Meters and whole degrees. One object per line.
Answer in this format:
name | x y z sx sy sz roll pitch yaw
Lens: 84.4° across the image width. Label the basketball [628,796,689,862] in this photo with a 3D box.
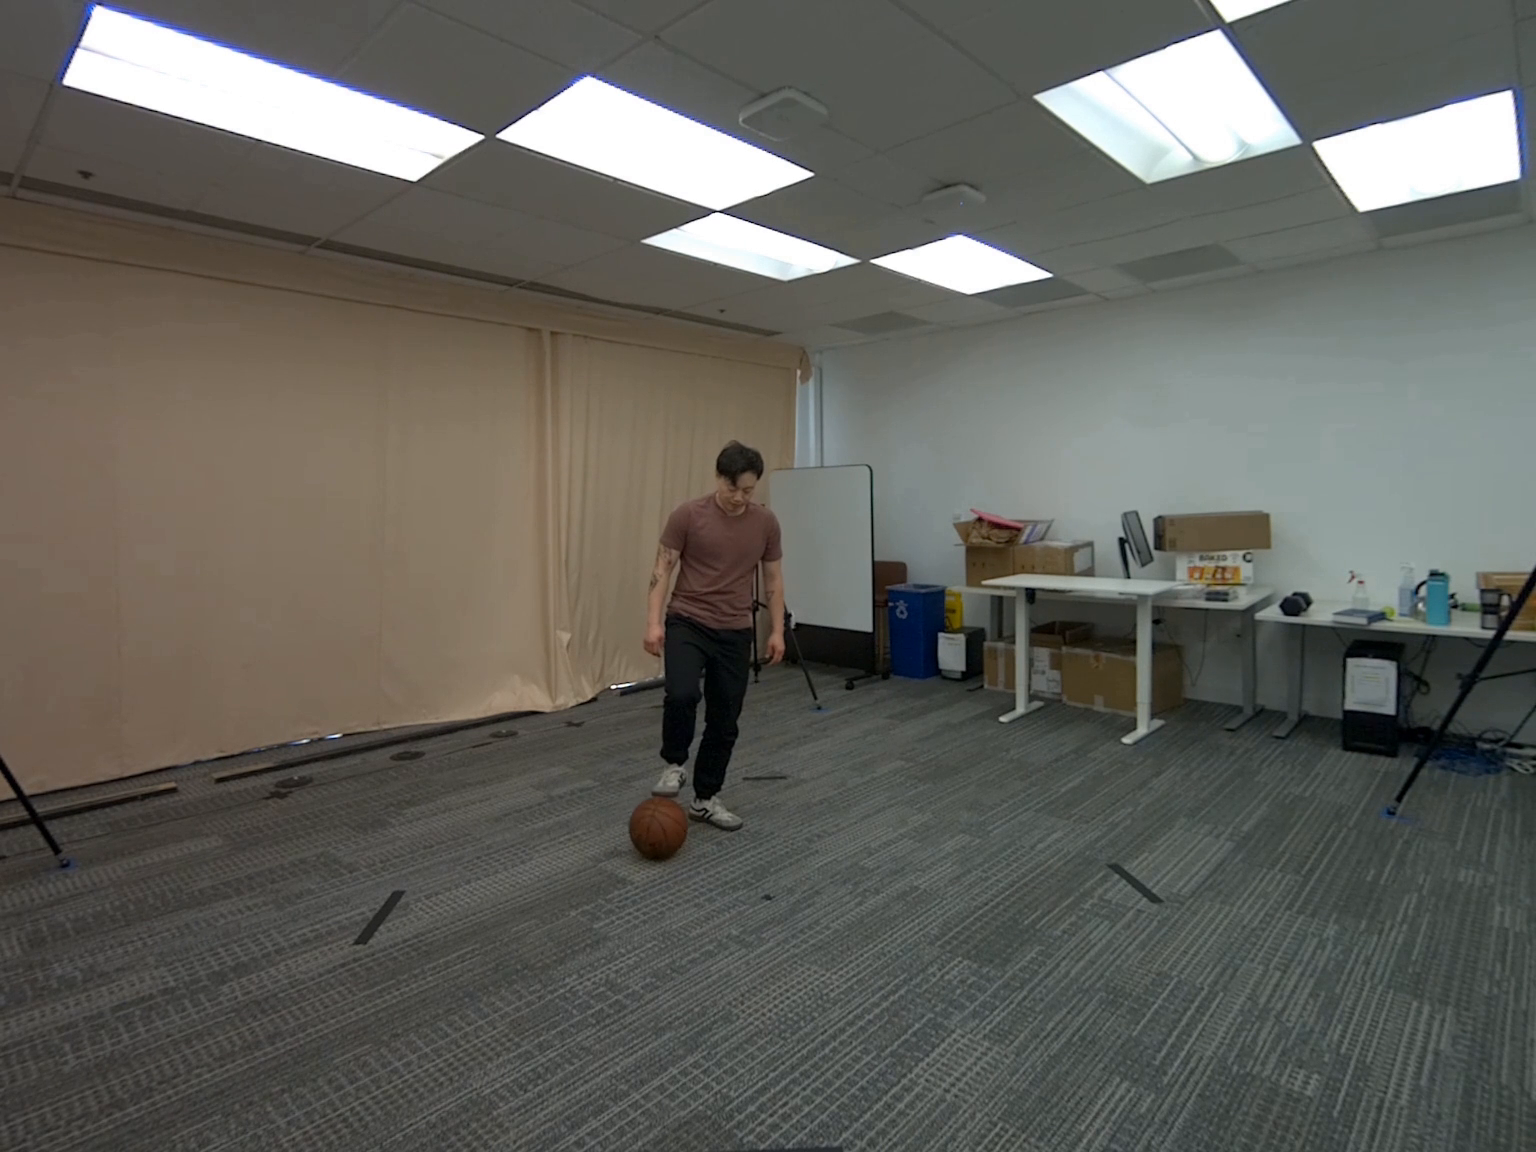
basketball | -0.440 1.000 3.341 0.236 0.235 0.237 -1 4 -2
